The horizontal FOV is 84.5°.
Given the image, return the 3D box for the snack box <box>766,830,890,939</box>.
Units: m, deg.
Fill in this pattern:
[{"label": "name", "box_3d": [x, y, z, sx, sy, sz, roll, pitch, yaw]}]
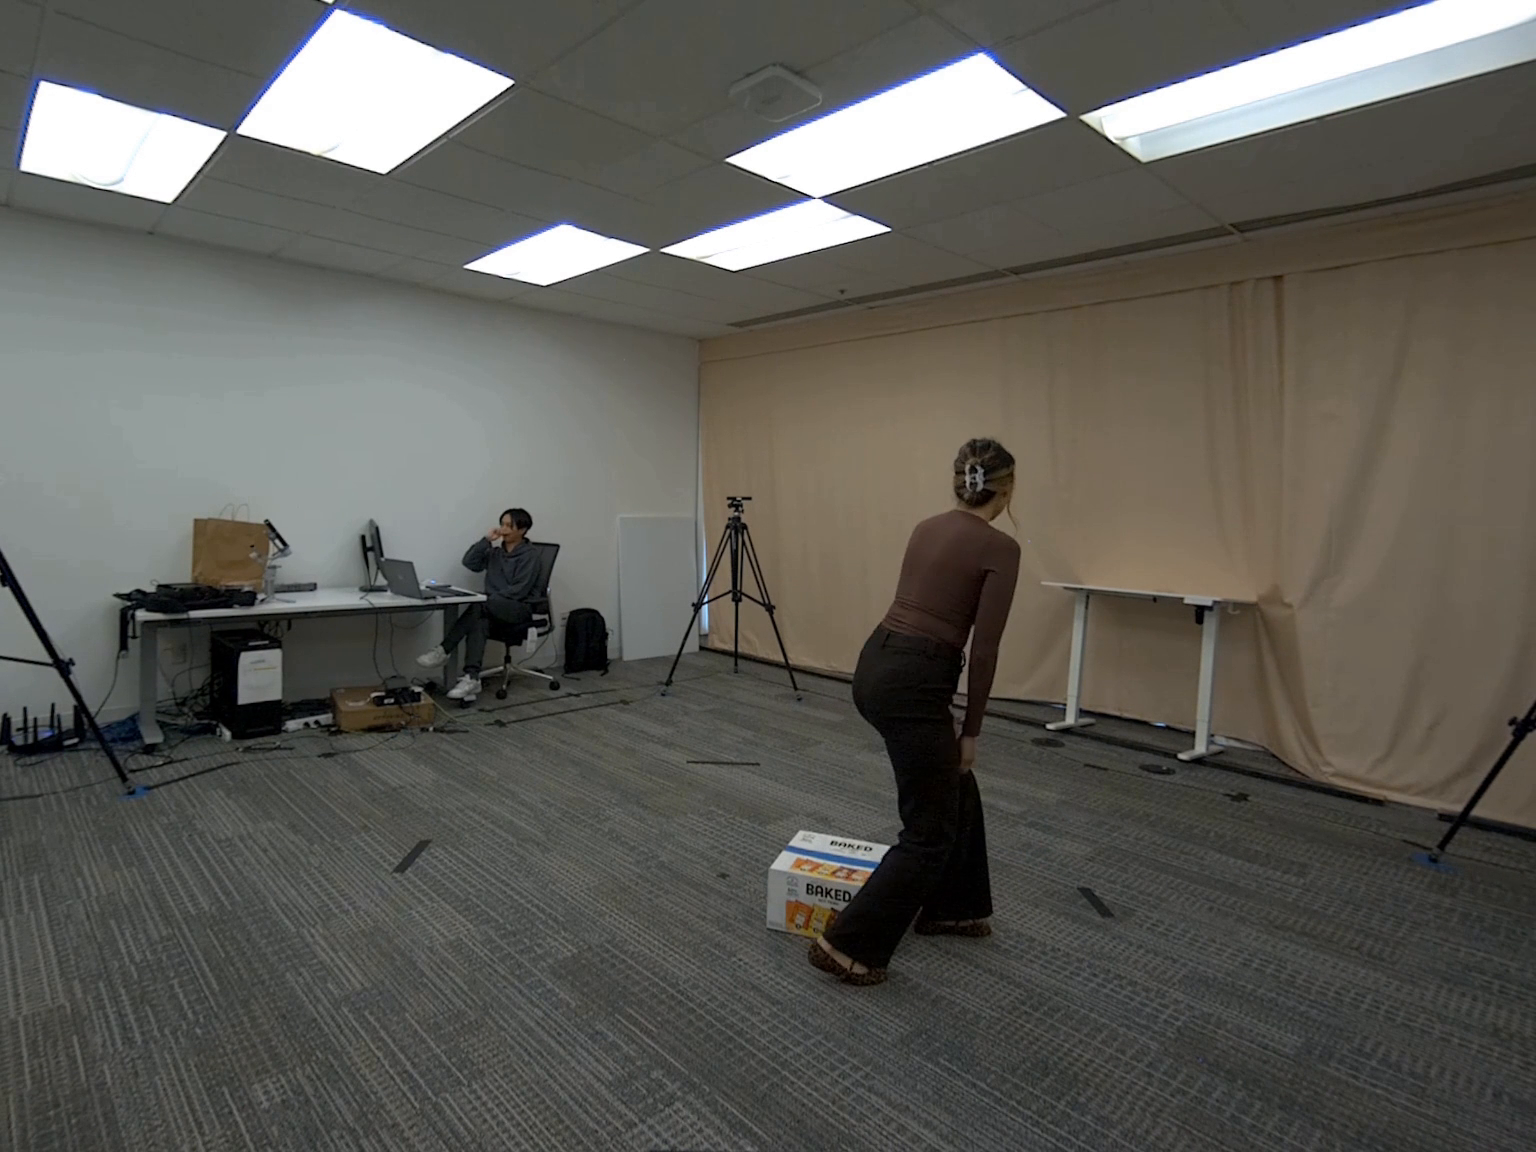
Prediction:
[{"label": "snack box", "box_3d": [0.240, 1.041, 2.801, 0.412, 0.205, 0.336, 3, 5, 20]}]
